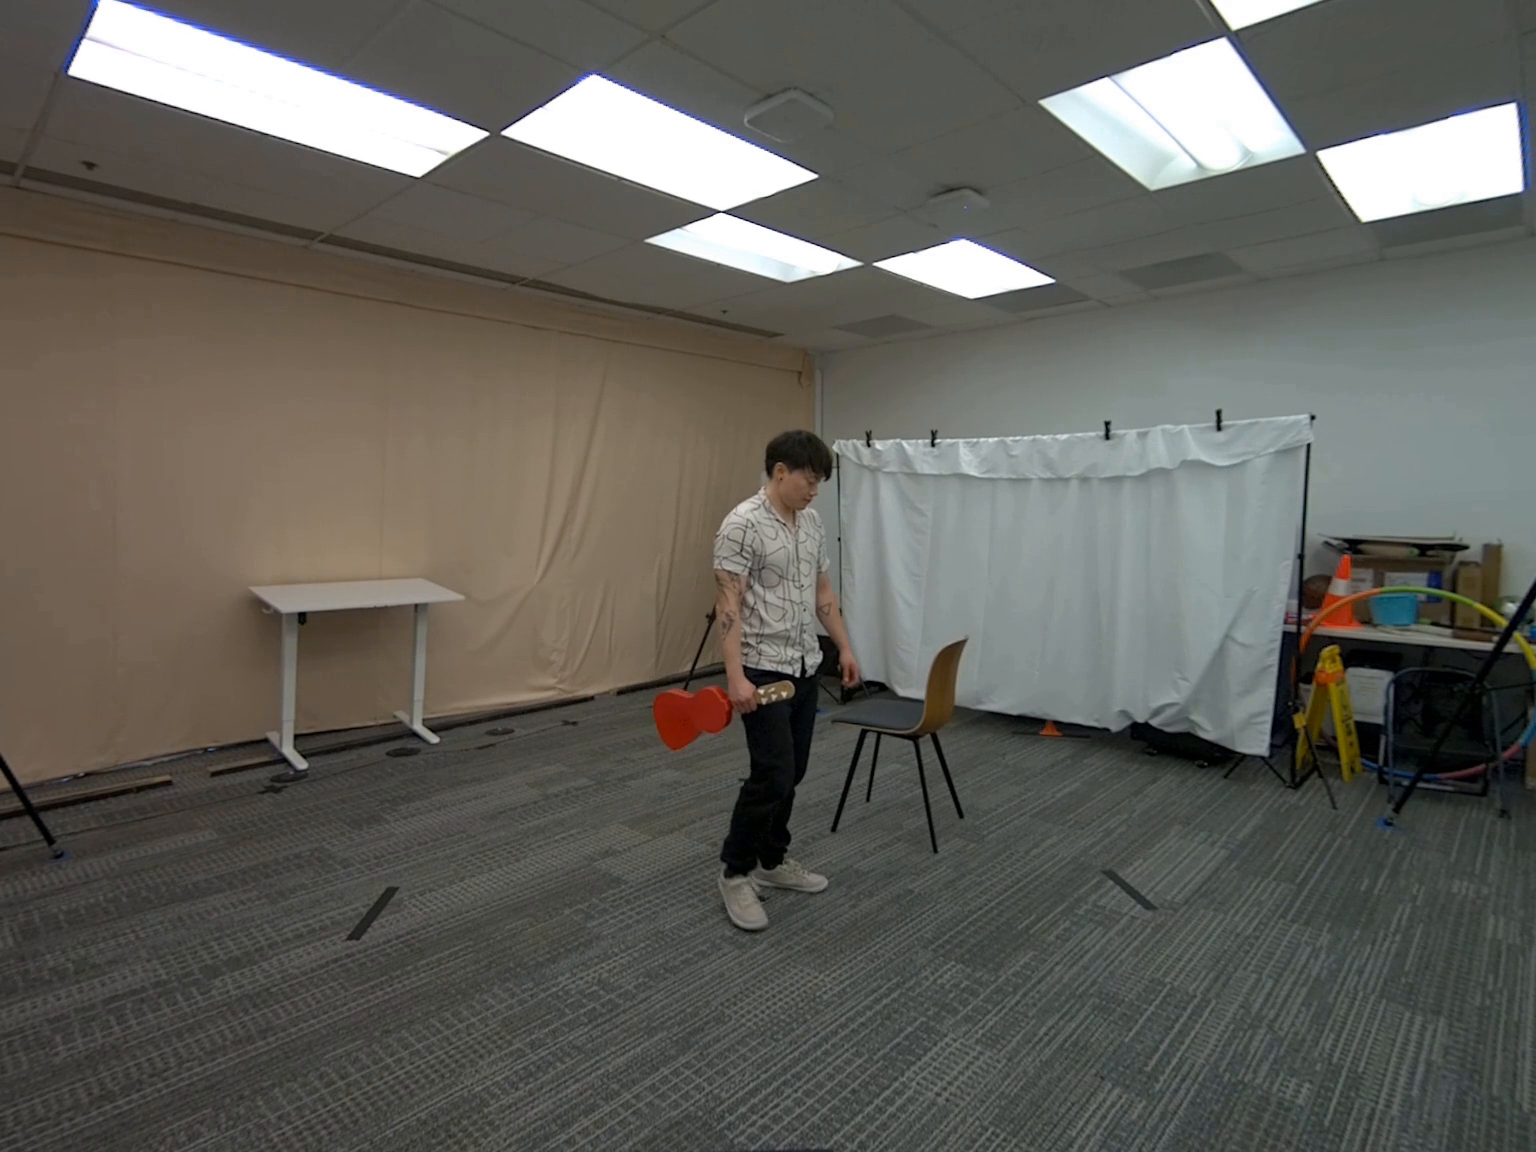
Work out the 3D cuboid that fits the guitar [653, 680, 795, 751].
[{"bbox_3d":[-0.159,0.407,2.770,0.505,0.195,0.069,-27,-12,24],"label":"guitar"}]
